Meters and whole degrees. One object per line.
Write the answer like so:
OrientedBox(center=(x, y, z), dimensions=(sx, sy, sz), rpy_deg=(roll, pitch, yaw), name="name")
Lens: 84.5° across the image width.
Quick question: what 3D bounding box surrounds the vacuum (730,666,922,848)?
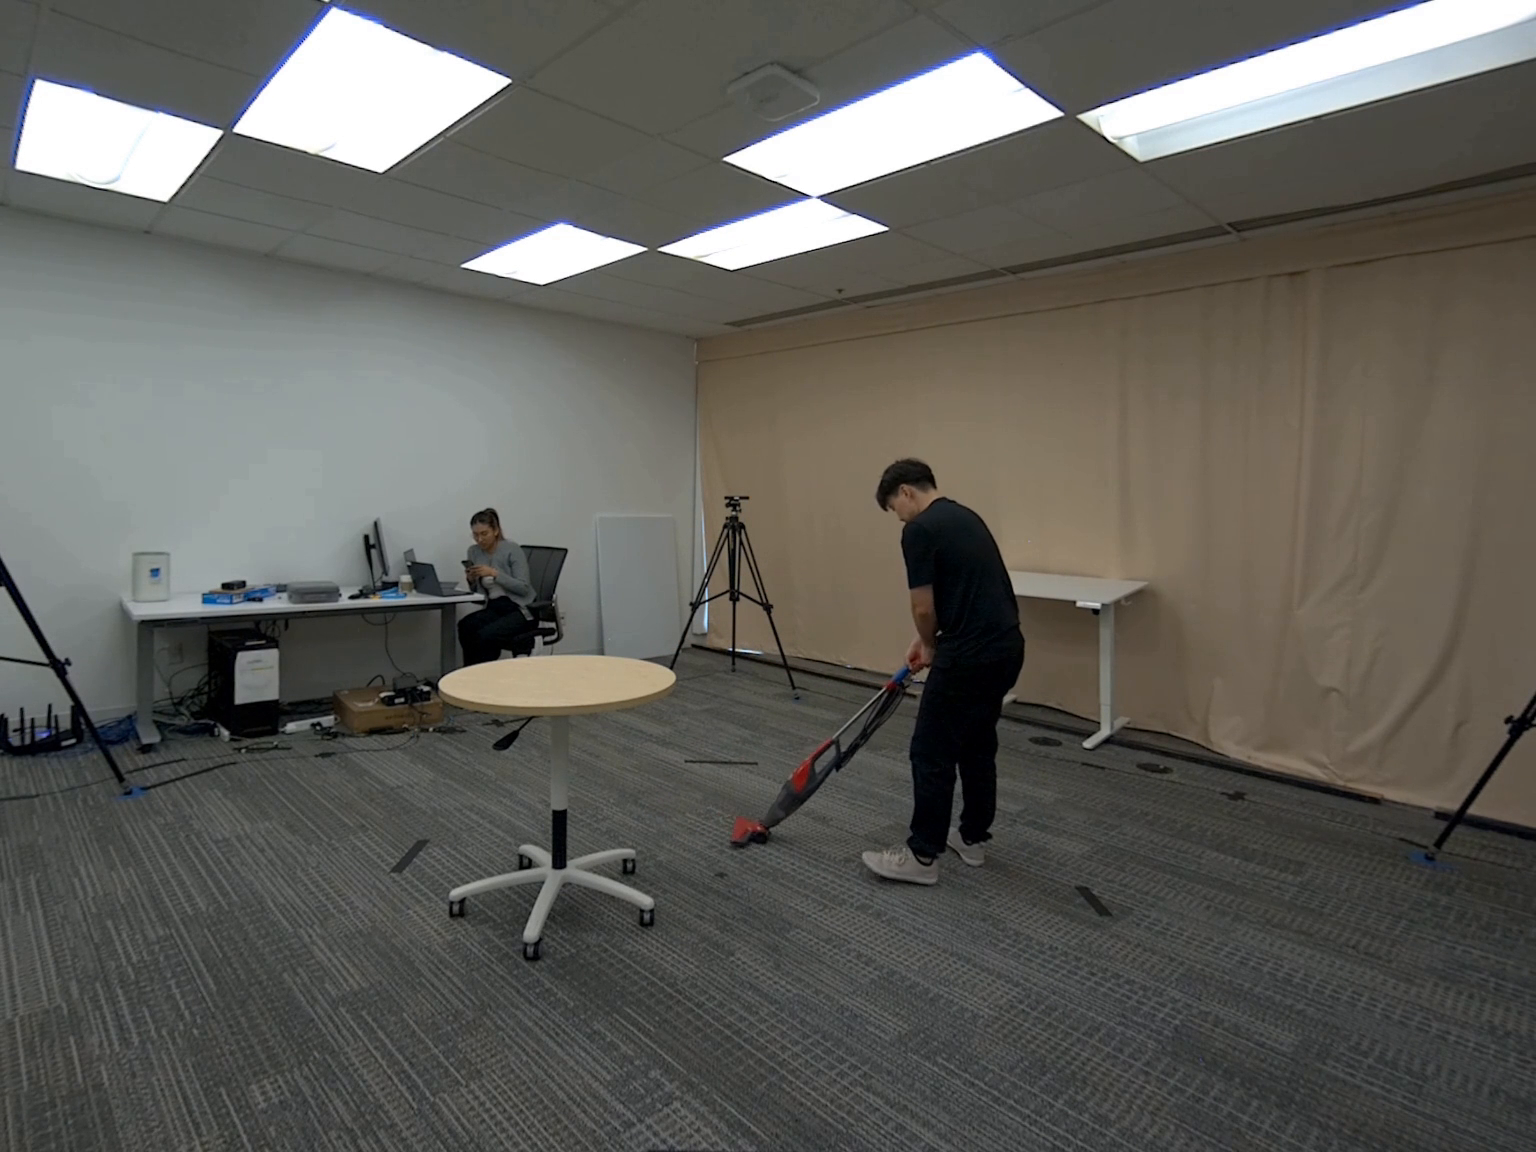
OrientedBox(center=(0.276, 0.695, 3.404), dimensions=(0.144, 1.049, 0.253), rpy_deg=(46, 7, -4), name="vacuum")
